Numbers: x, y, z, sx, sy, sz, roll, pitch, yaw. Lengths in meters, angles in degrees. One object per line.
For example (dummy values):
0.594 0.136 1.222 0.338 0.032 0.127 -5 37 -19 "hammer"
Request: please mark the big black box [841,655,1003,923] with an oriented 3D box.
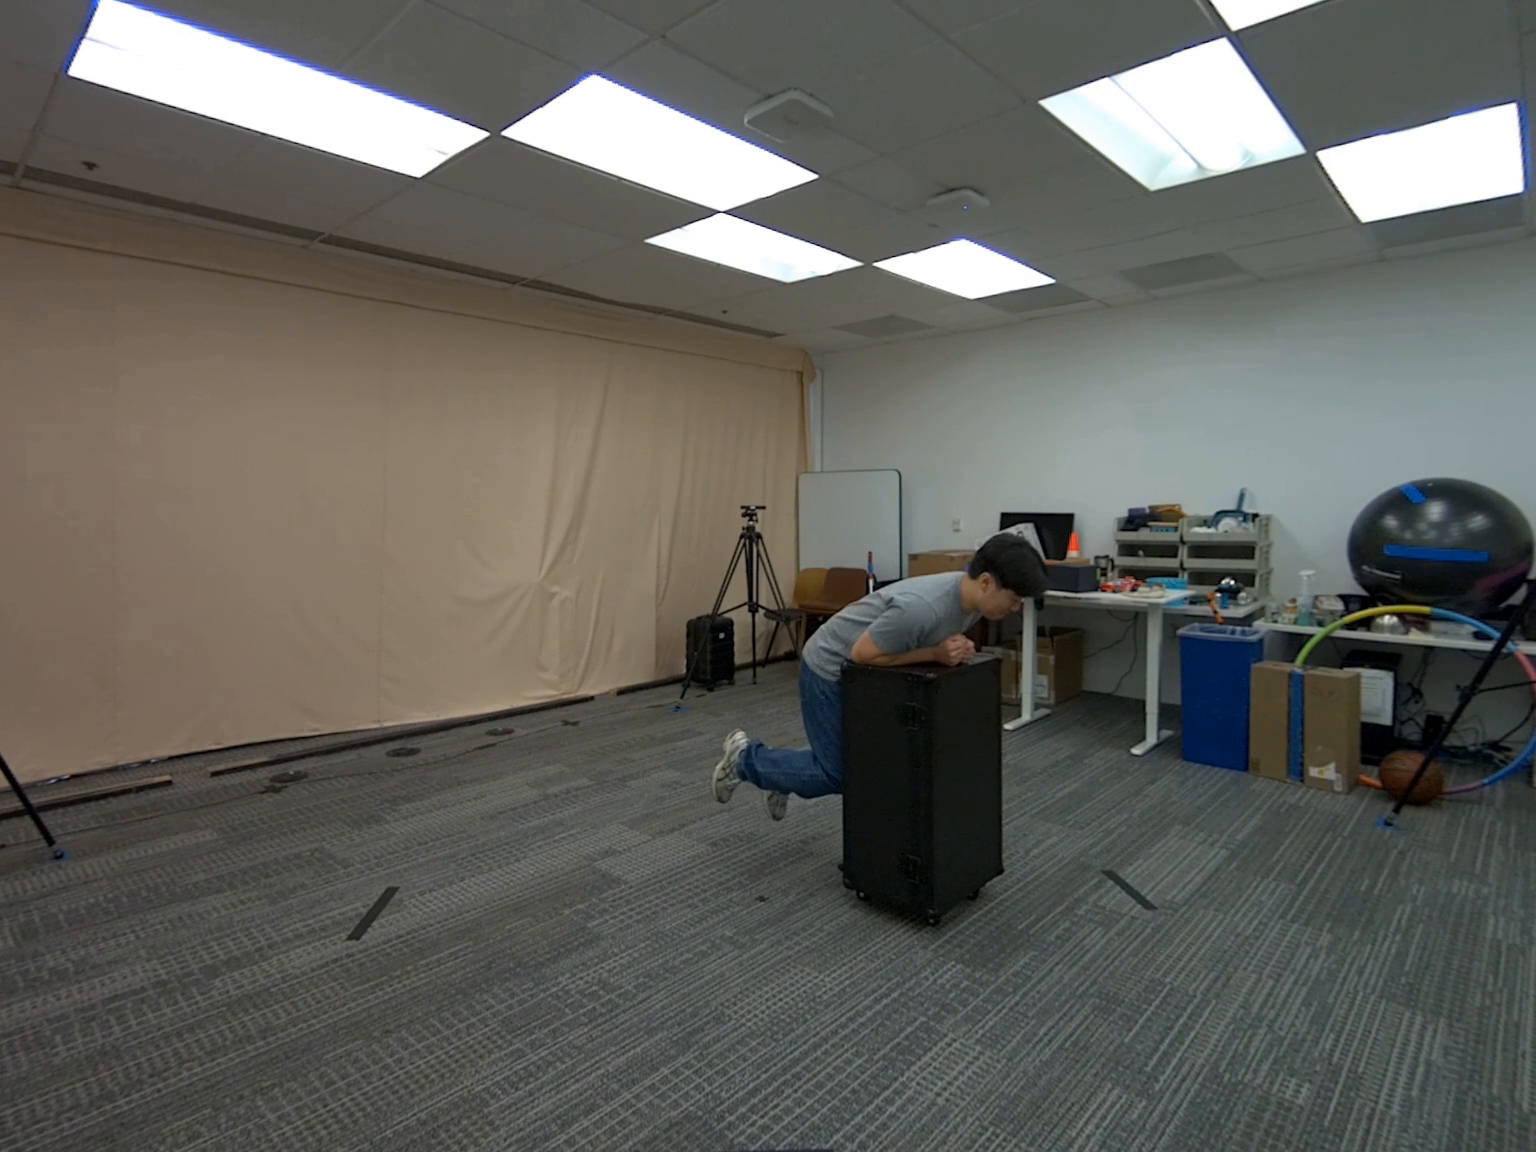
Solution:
0.542 0.717 2.957 0.409 0.860 0.505 0 3 42 "big black box"
